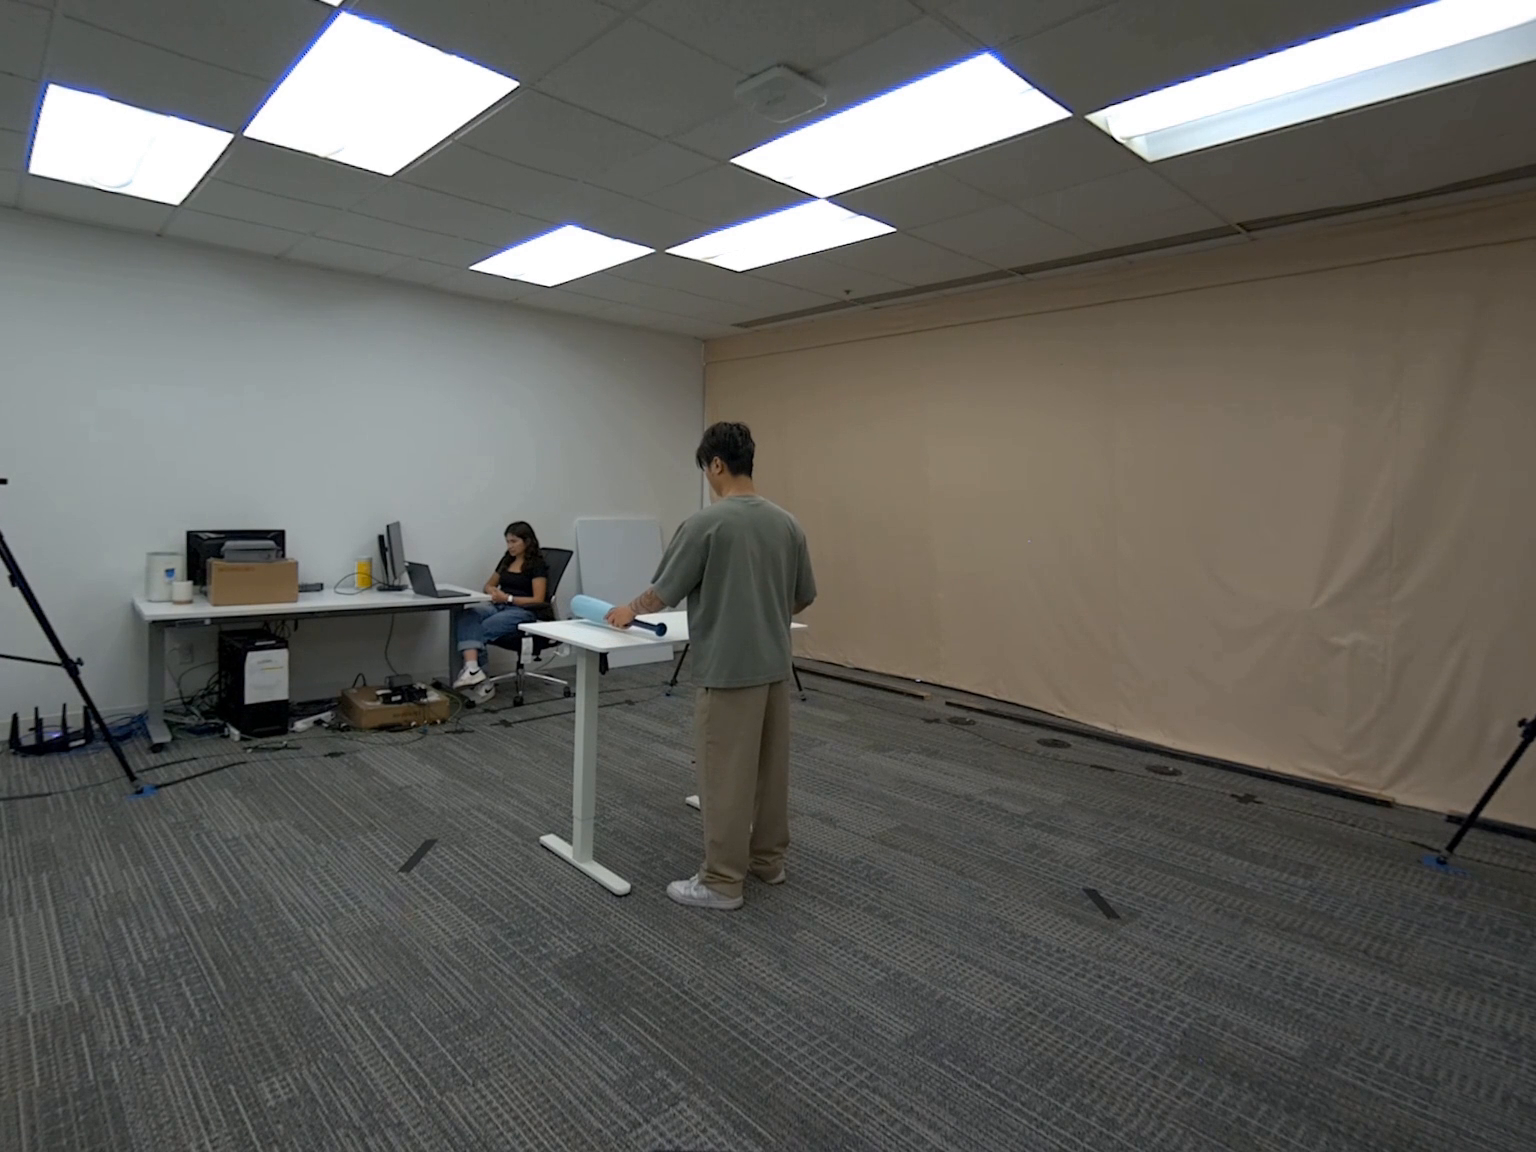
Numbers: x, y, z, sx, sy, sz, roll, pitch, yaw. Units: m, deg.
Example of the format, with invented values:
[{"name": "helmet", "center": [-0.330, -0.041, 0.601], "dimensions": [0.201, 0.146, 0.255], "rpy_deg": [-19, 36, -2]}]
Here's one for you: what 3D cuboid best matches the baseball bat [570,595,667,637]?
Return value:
[{"name": "baseball bat", "center": [-0.576, 0.160, 3.189], "dimensions": [0.558, 0.088, 0.087], "rpy_deg": [12, 10, 41]}]
